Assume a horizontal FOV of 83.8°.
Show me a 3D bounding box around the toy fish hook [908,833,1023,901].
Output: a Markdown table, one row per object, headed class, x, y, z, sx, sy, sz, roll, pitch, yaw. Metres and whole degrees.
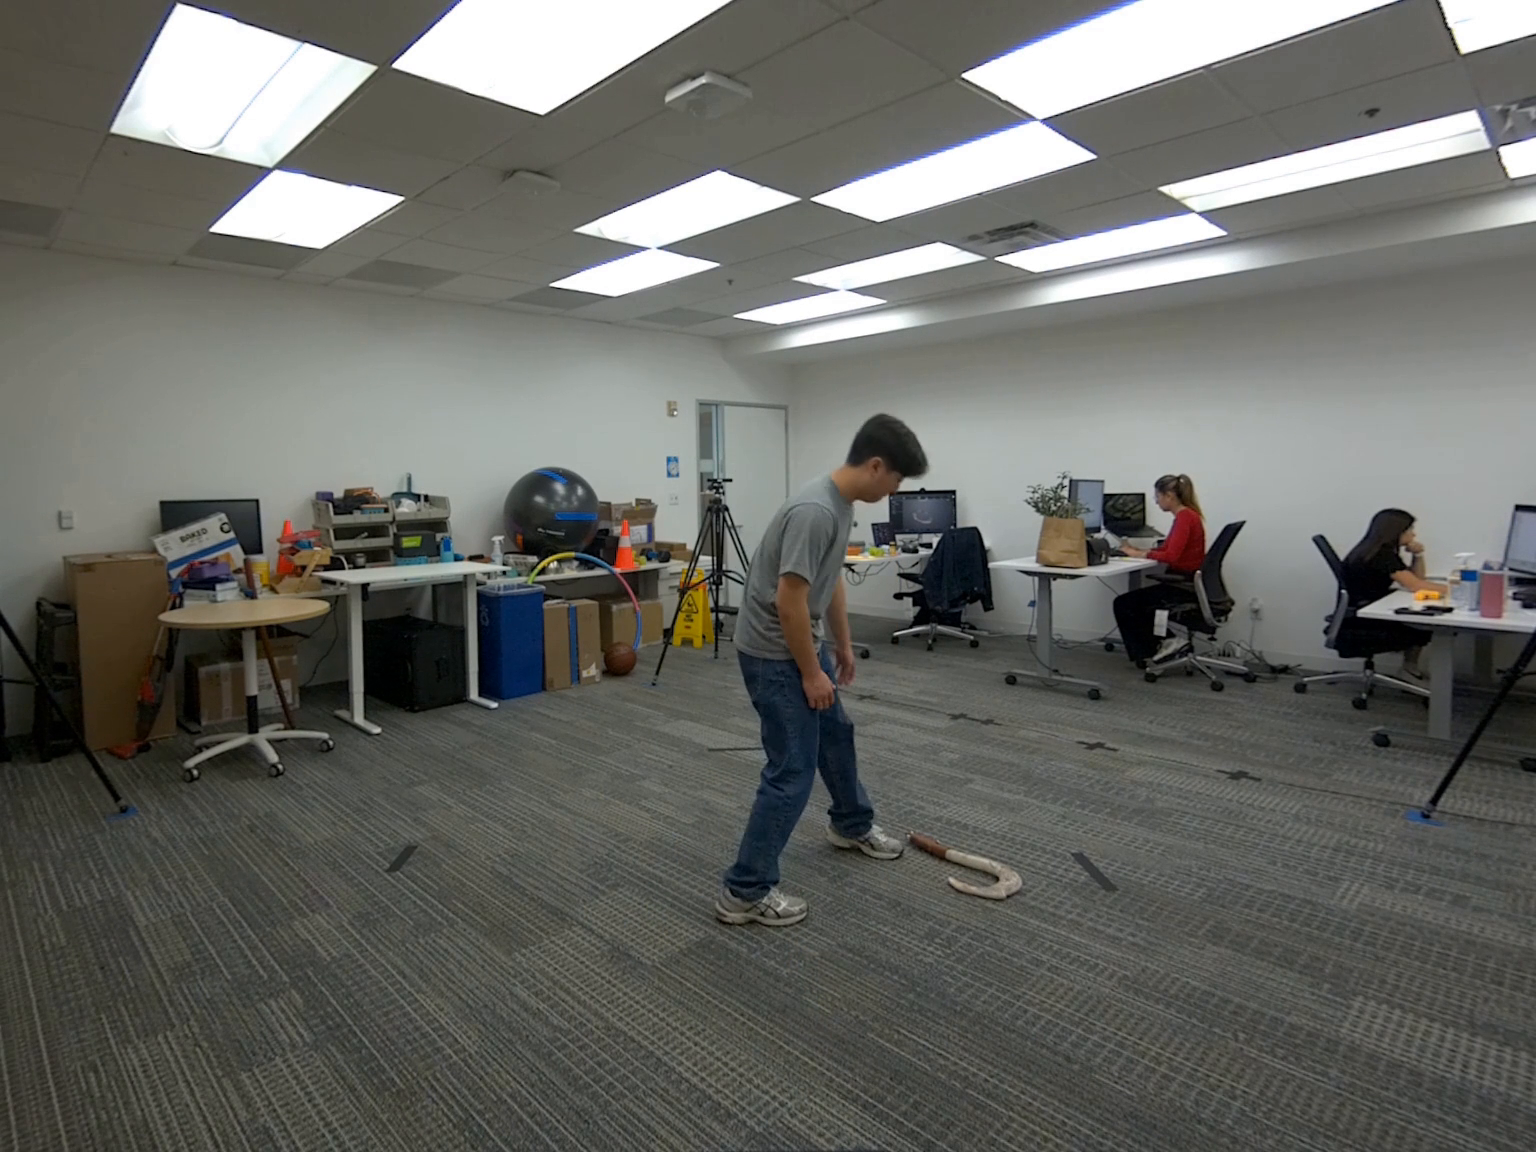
| class | x | y | z | sx | sy | sz | roll | pitch | yaw |
| --- | --- | --- | --- | --- | --- | --- | --- | --- | --- |
| toy fish hook | 0.651 | 1.016 | 3.028 | 0.219 | 0.048 | 0.522 | -5 | 7 | -36 |
